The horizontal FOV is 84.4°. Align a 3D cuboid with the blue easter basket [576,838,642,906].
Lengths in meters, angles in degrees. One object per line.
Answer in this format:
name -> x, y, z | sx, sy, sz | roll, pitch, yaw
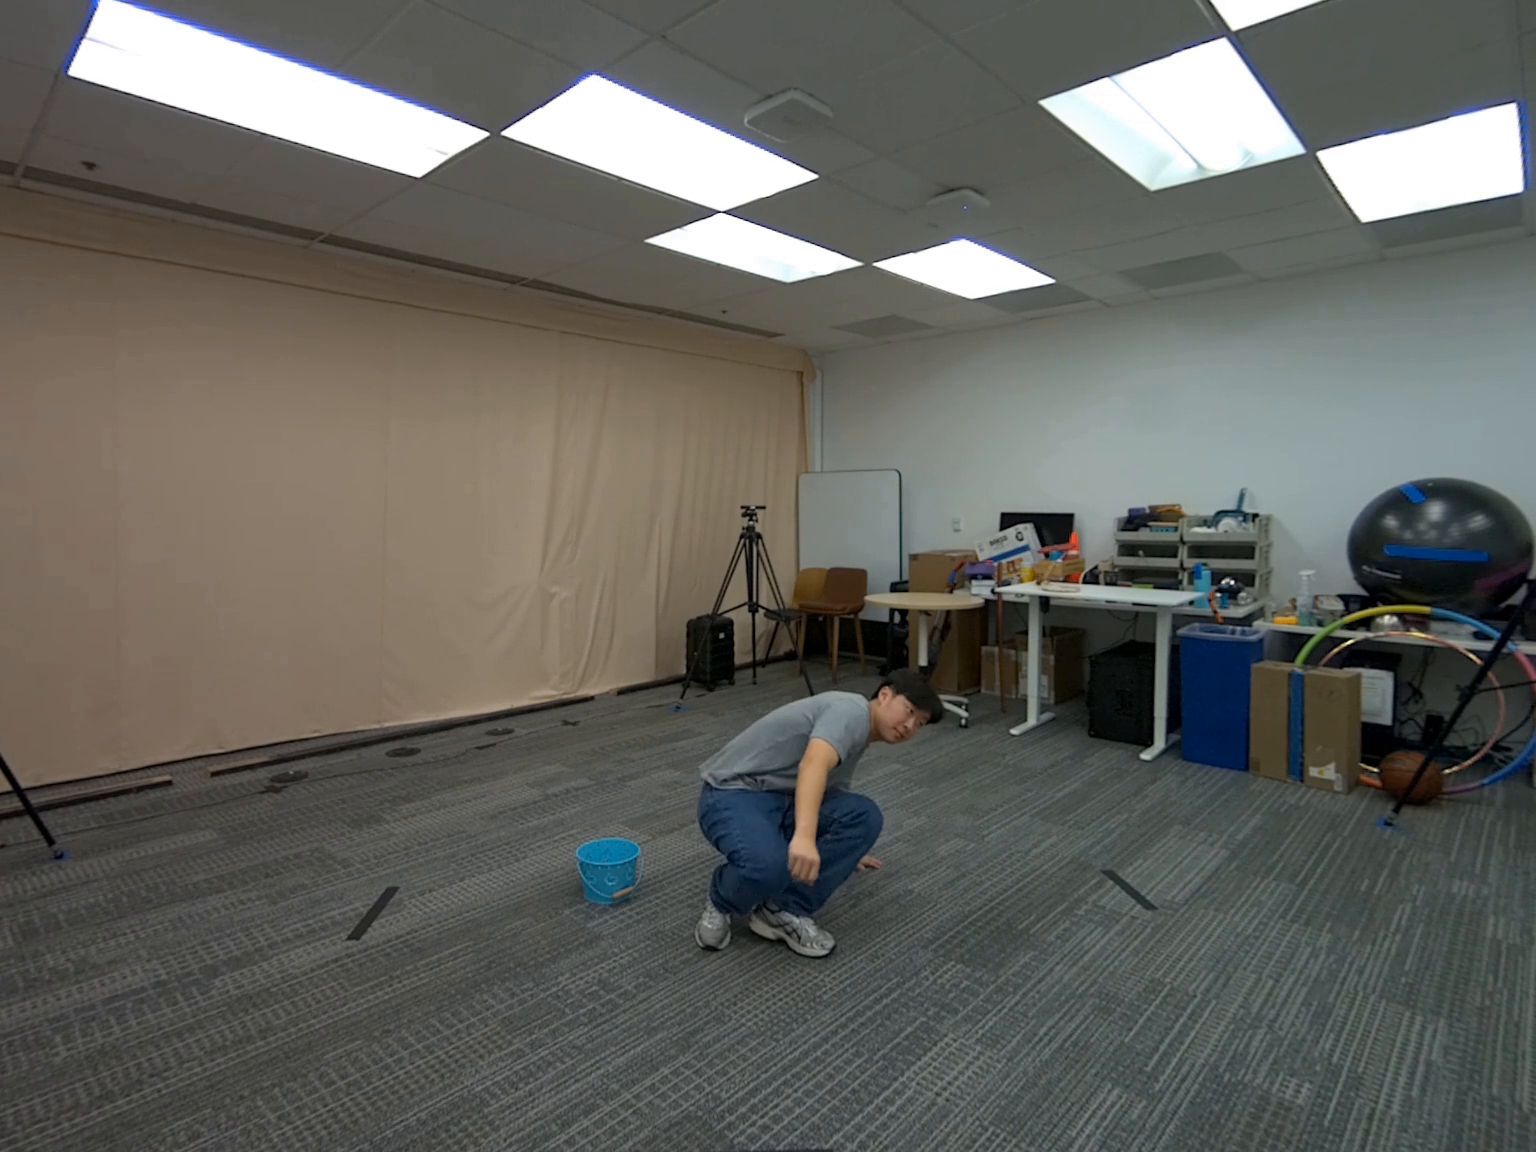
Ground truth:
blue easter basket -> -0.577, 1.071, 3.035 | 0.243, 0.155, 0.244 | 0, 4, -2
